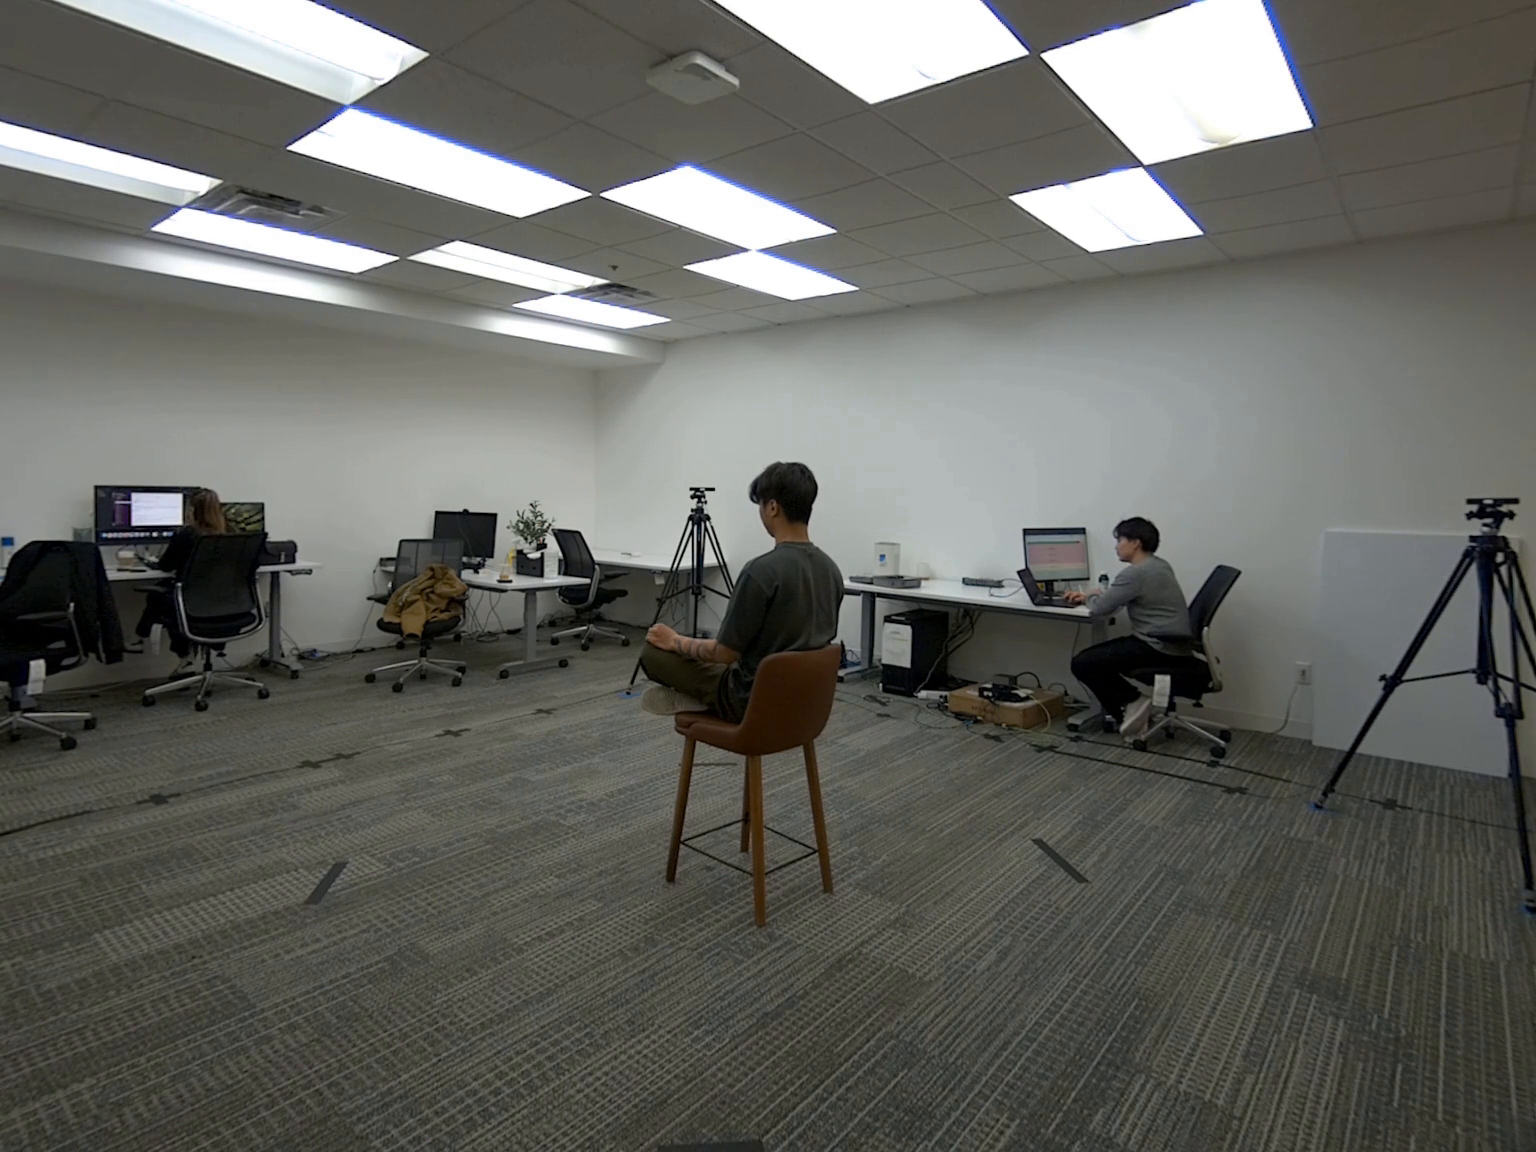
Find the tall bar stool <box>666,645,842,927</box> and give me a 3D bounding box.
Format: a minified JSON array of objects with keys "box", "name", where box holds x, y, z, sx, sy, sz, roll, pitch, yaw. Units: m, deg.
[{"box":[-0.052,0.649,2.954,0.484,0.886,0.442,8,6,43],"name":"tall bar stool"}]
